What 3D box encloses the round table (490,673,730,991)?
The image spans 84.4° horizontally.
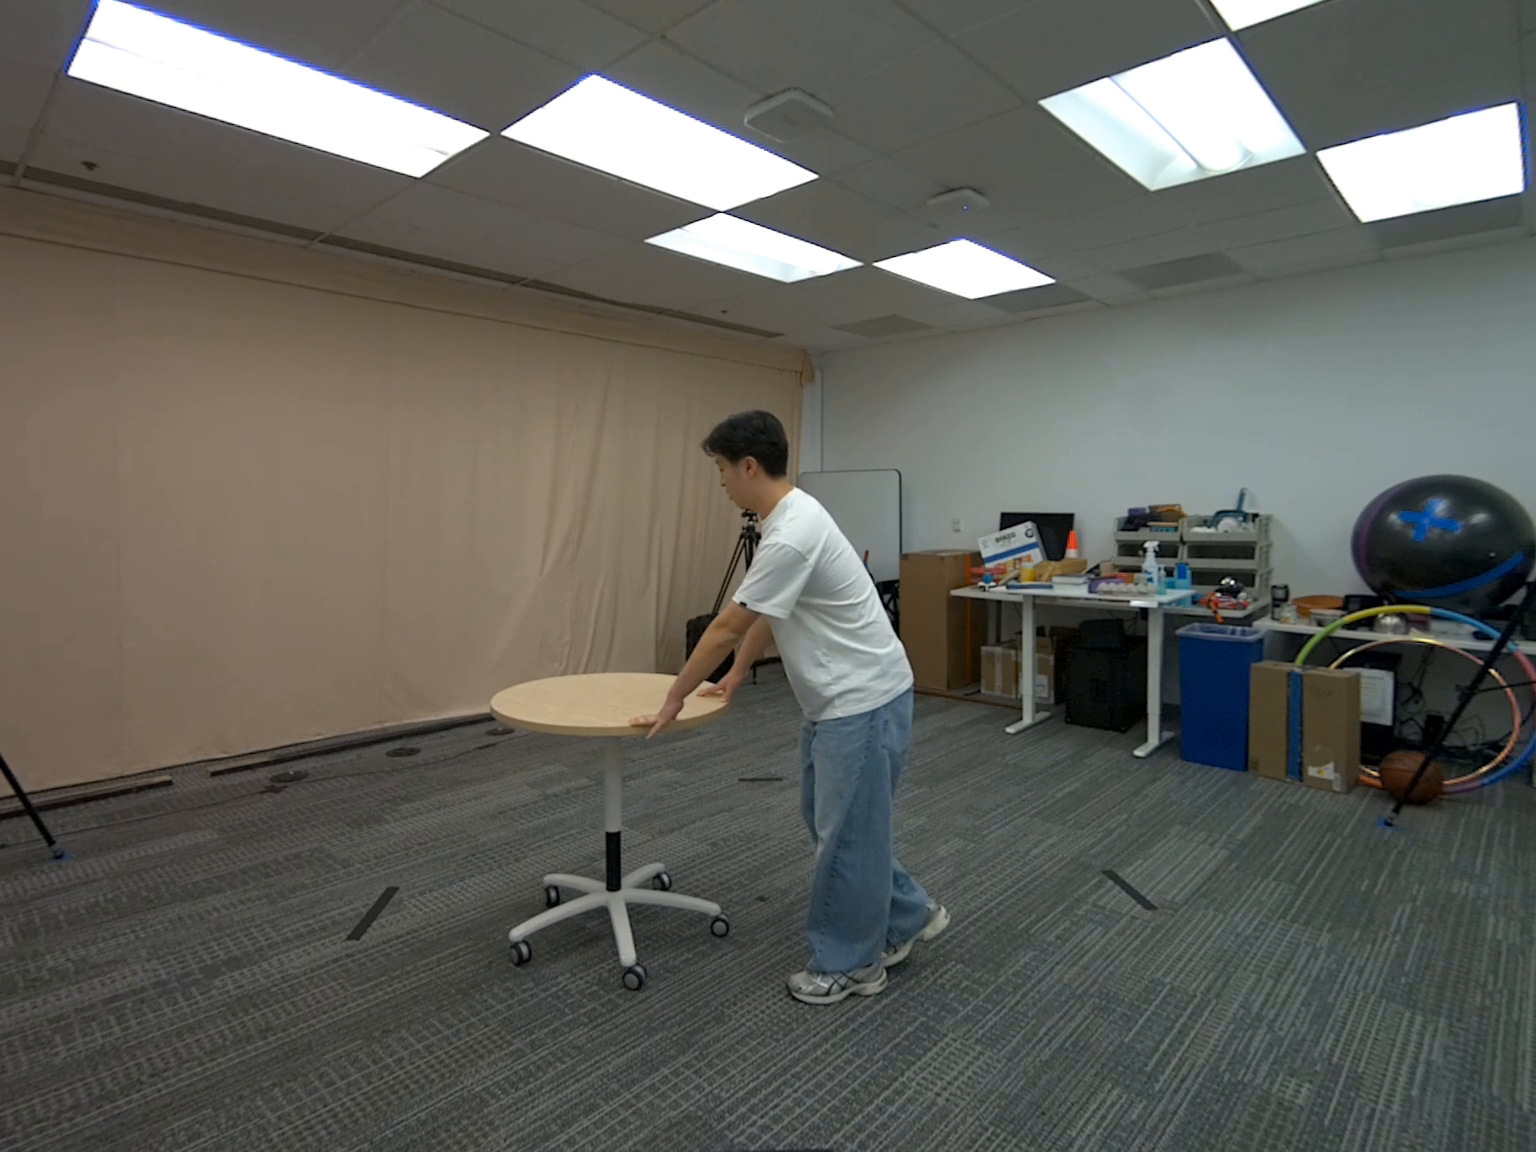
[{"bbox_3d":[-0.491,0.782,2.746,0.763,0.792,0.766,0,3,-2],"label":"round table"}]
